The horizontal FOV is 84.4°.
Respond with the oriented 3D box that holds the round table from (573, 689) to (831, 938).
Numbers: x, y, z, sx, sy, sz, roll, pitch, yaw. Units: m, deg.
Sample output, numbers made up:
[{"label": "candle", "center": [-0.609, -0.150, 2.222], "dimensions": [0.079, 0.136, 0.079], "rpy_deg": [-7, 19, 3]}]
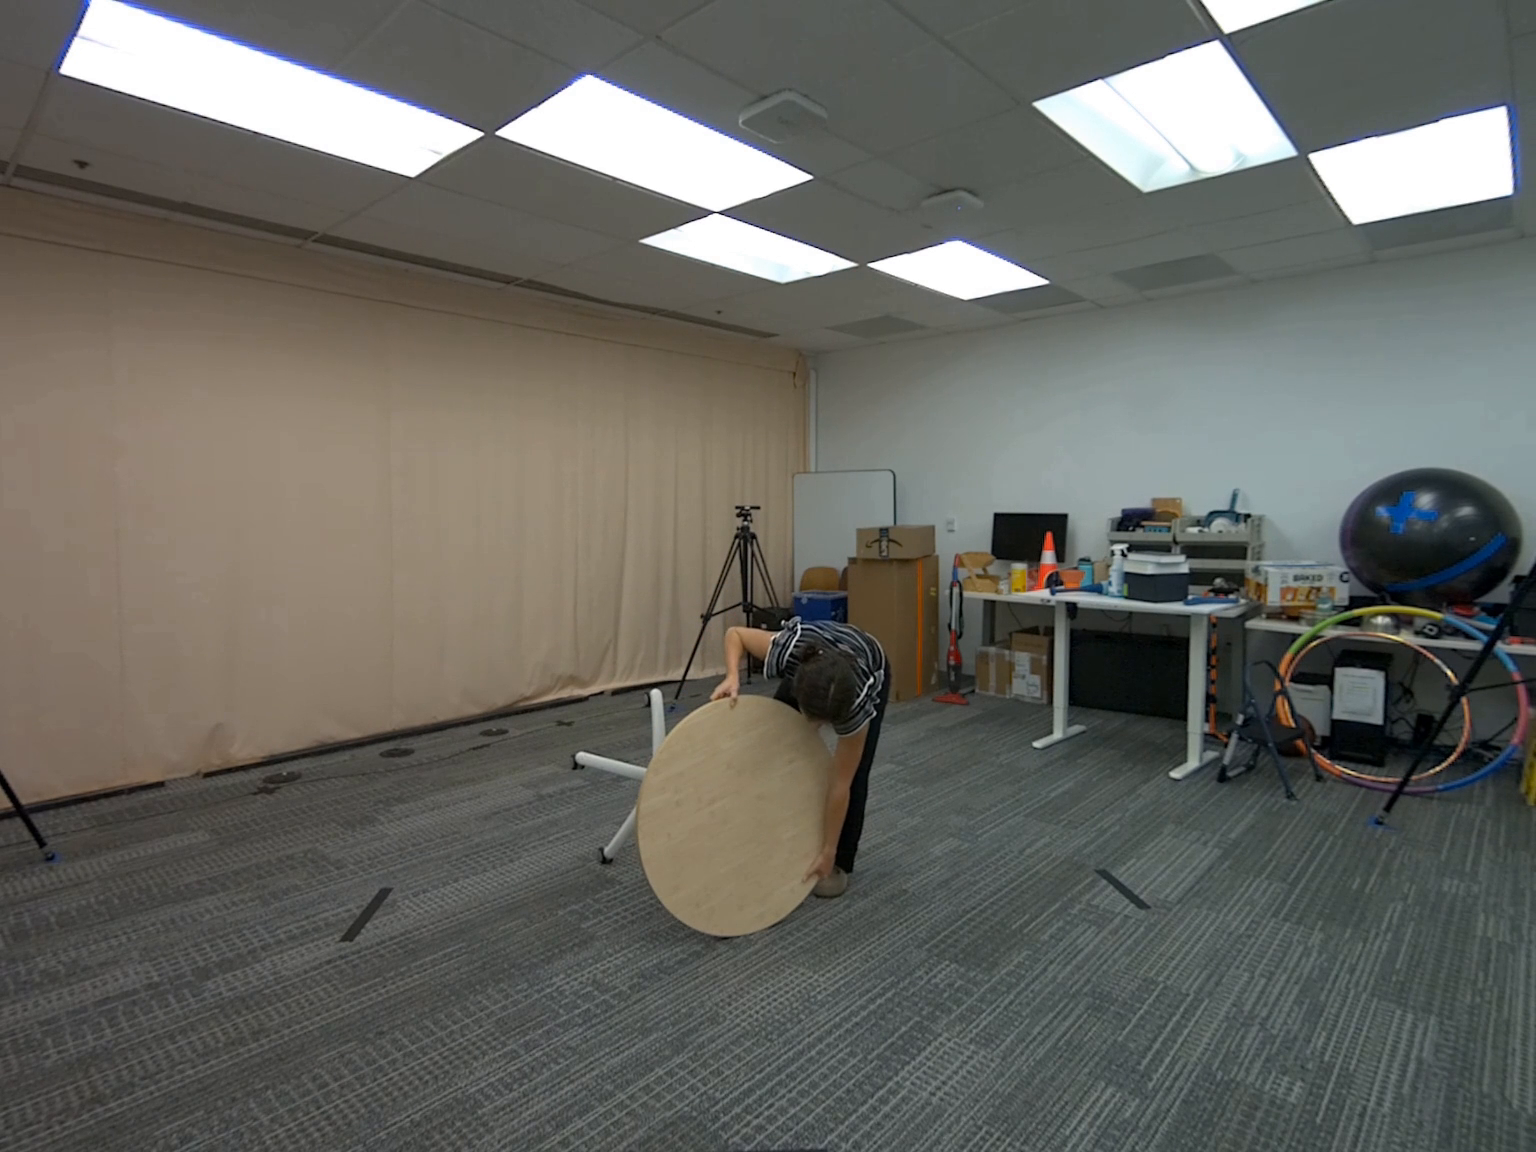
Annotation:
[{"label": "round table", "center": [-0.286, 0.800, 3.102], "dimensions": [0.744, 0.765, 0.814], "rpy_deg": [-2, -1, -30]}]
